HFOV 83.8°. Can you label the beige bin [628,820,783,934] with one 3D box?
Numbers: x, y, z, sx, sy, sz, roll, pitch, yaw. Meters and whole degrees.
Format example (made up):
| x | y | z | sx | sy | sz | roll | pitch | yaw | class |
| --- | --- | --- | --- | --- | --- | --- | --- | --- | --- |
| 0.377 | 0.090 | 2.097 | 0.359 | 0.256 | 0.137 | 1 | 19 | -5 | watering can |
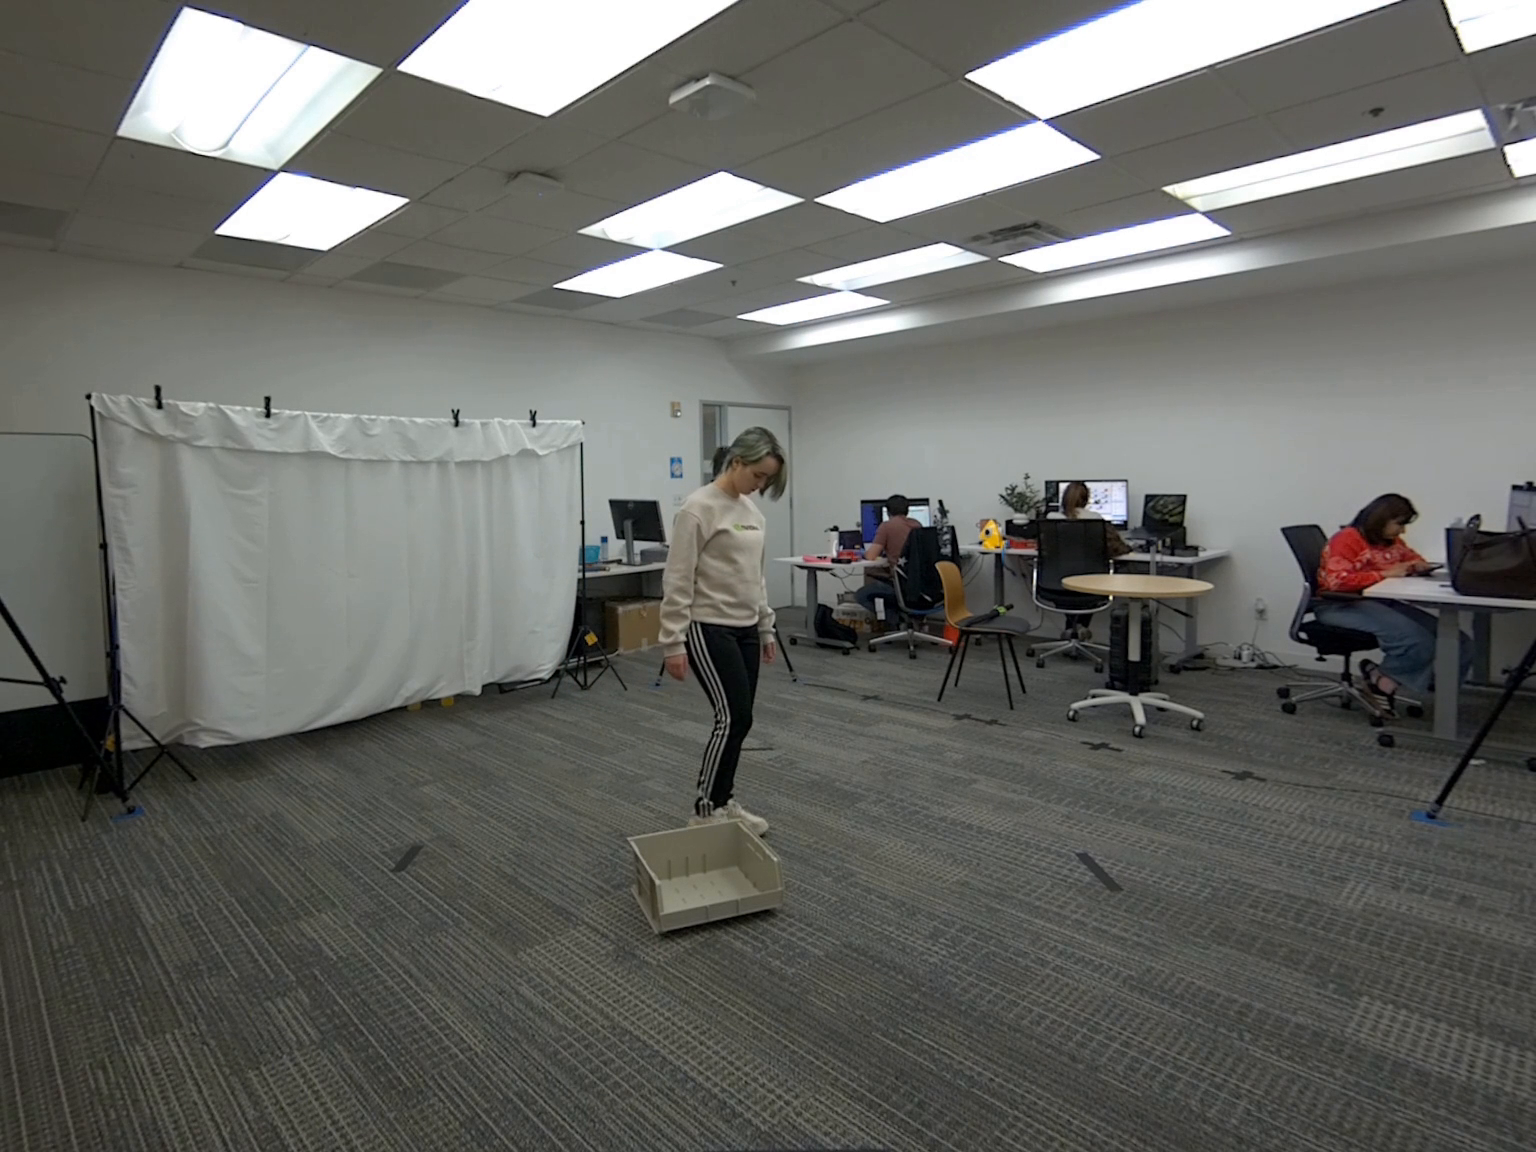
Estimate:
| x | y | z | sx | sy | sz | roll | pitch | yaw | class |
| --- | --- | --- | --- | --- | --- | --- | --- | --- | --- |
| -0.210 | 0.994 | 2.825 | 0.414 | 0.188 | 0.386 | -4 | 6 | -22 | beige bin |
